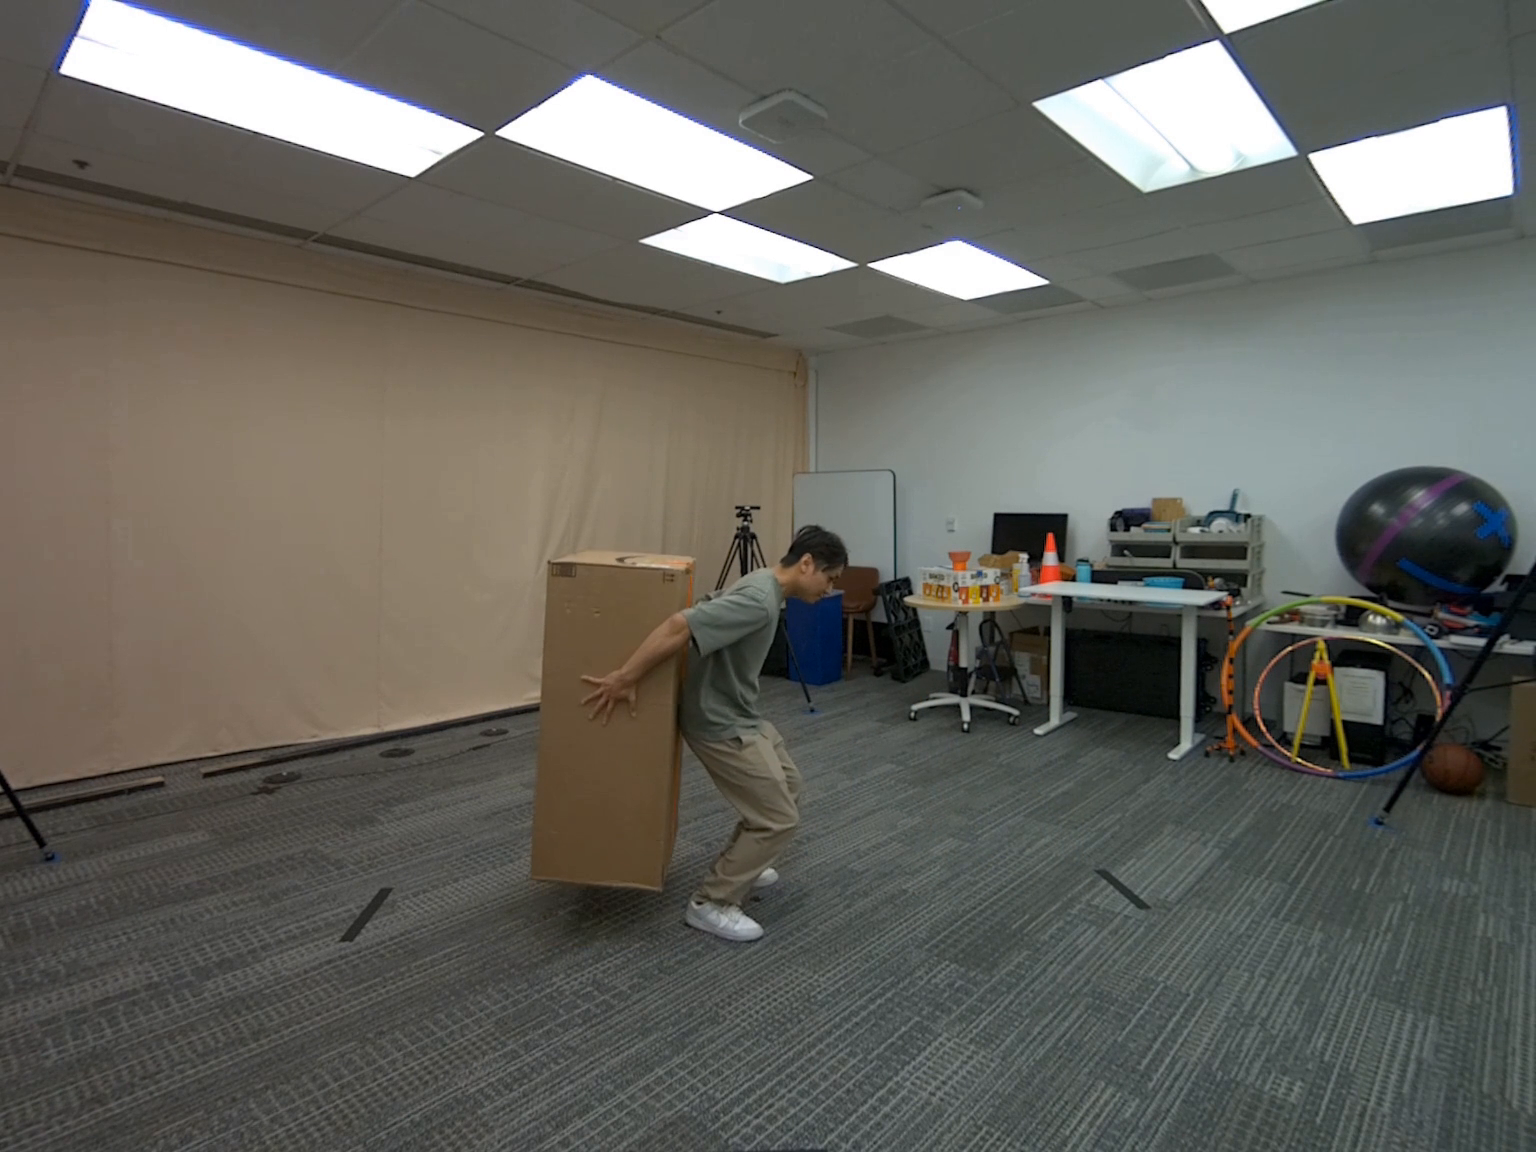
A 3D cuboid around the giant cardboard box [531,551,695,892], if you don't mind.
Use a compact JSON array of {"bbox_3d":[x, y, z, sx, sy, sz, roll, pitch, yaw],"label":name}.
[{"bbox_3d":[-0.514,0.445,2.905,0.427,1.024,0.578,4,3,0],"label":"giant cardboard box"}]
